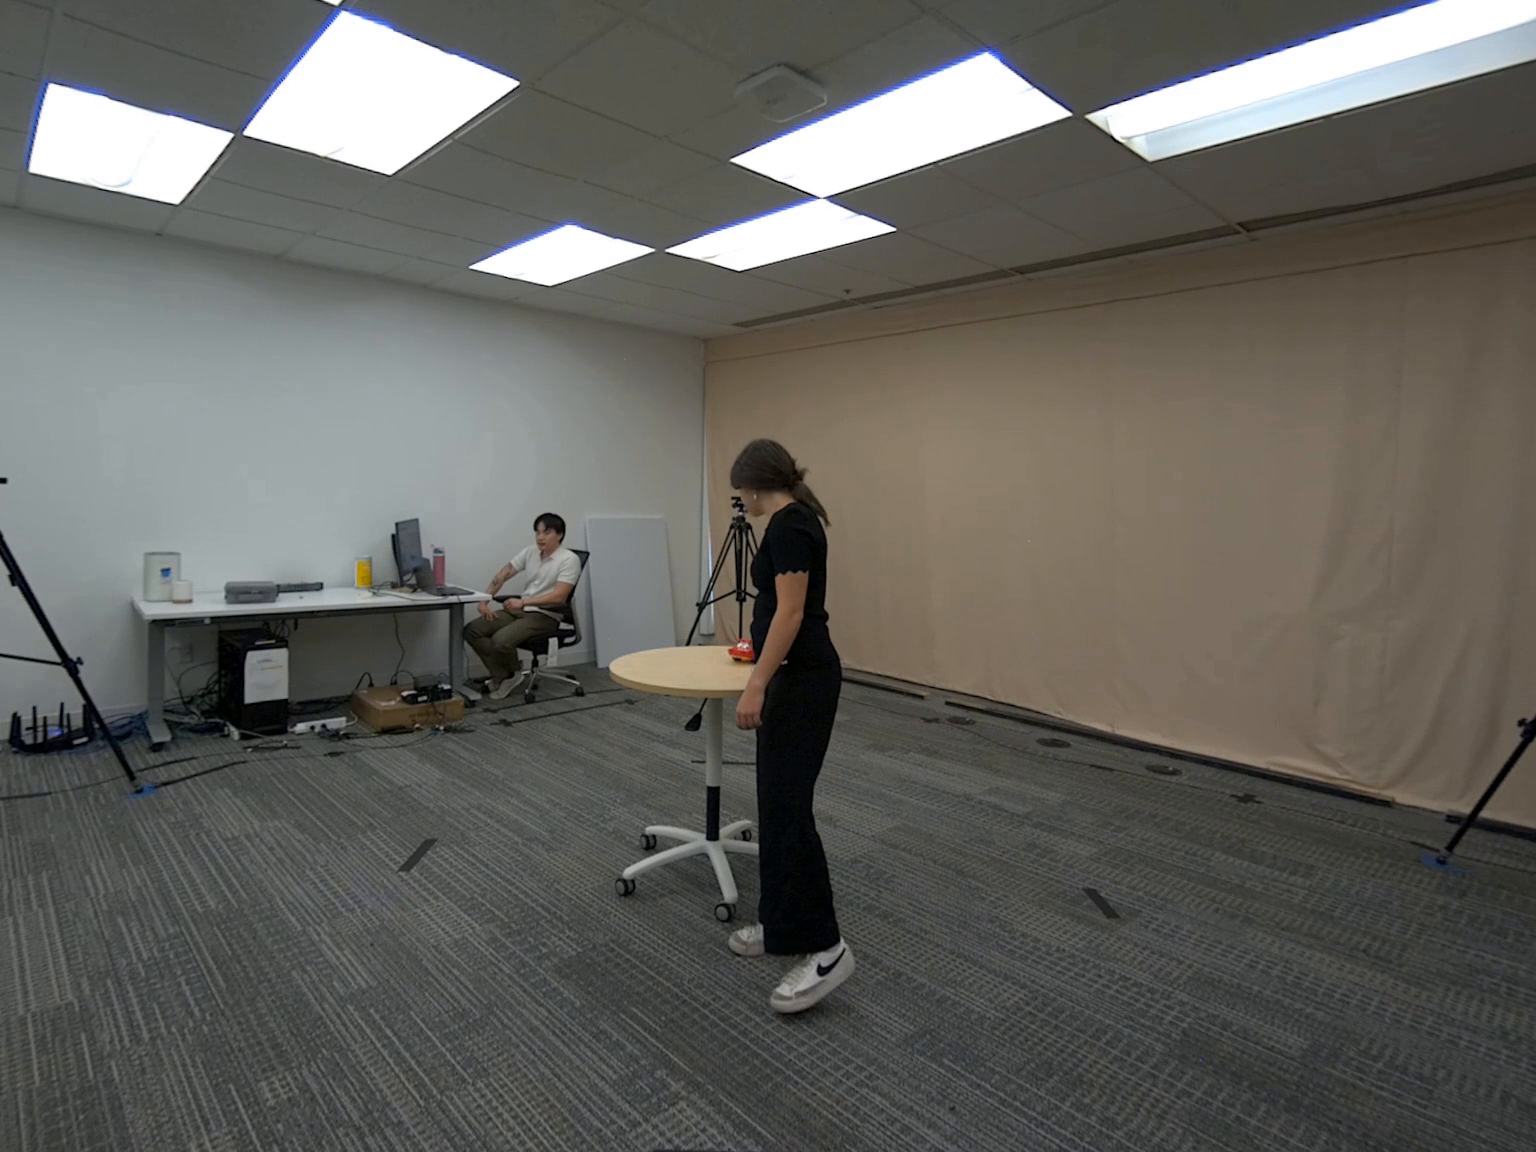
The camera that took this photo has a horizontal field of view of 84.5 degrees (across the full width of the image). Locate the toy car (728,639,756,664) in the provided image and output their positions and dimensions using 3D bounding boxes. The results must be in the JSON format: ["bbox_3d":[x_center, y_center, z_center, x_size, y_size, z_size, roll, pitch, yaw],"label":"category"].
[{"bbox_3d":[-0.066,0.285,3.166,0.133,0.083,0.248,5,-5,31],"label":"toy car"}]
